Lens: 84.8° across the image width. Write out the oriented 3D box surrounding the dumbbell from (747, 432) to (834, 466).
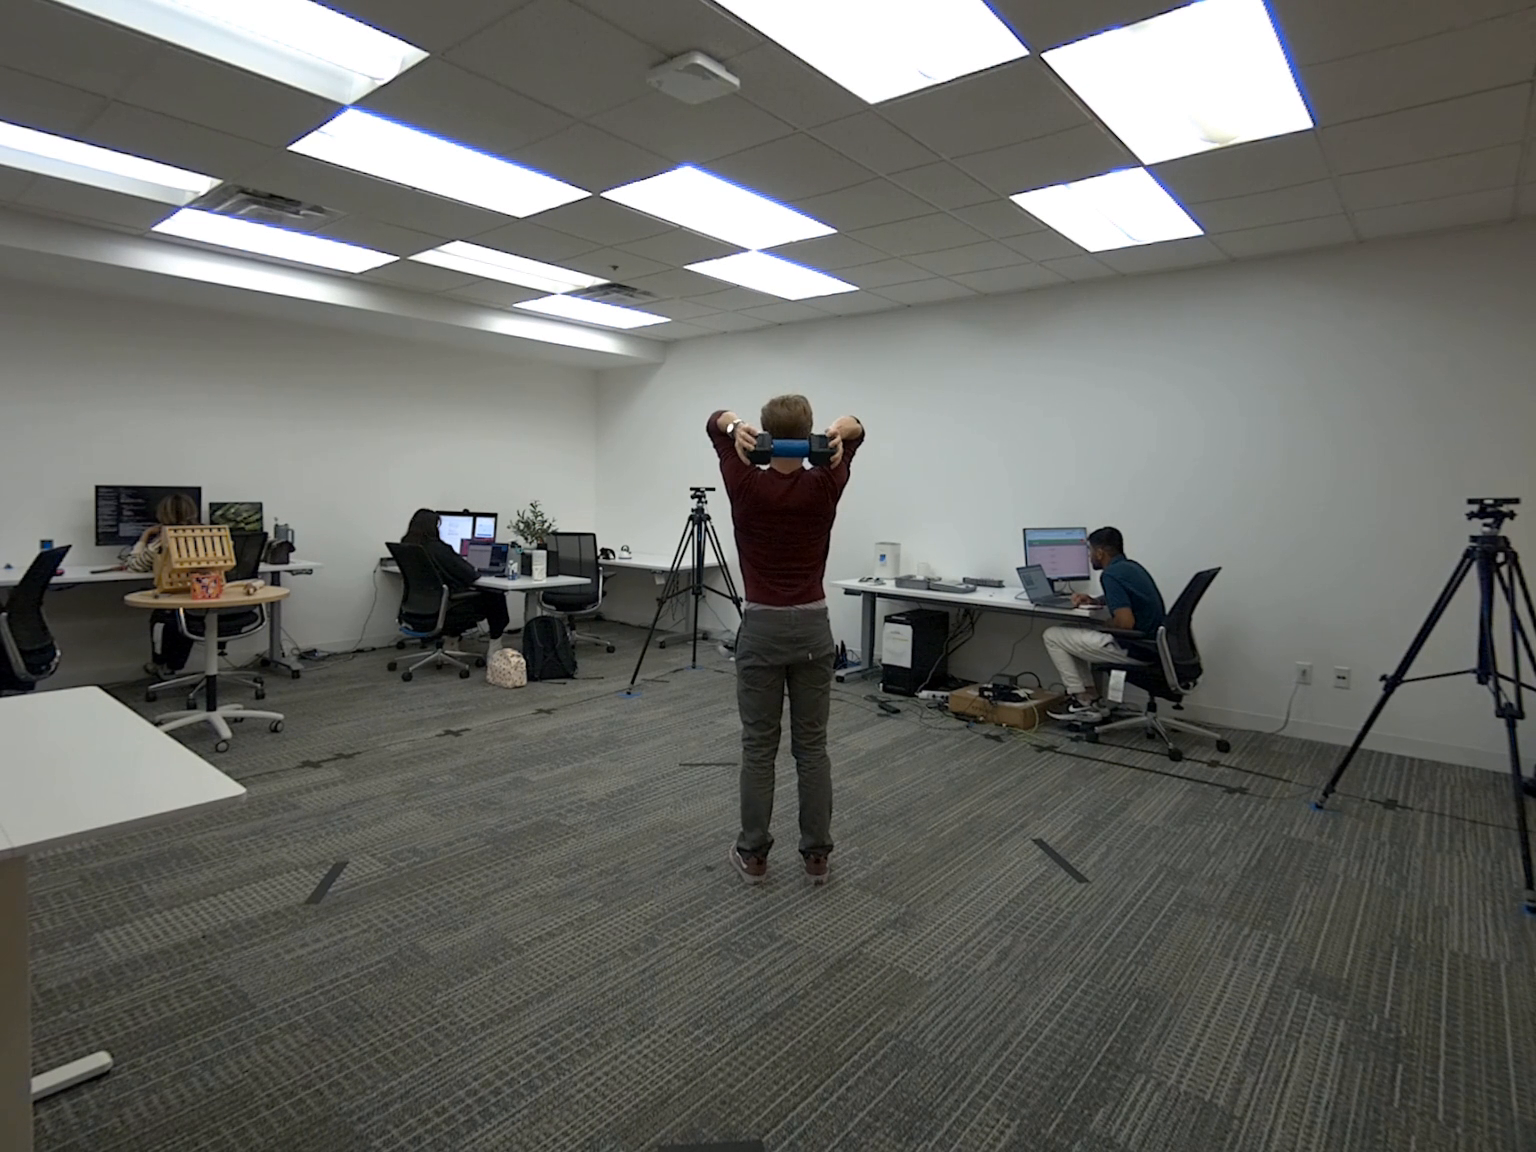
[{"bbox_3d":[0.074,-0.466,2.859,0.292,0.125,0.107,0,-18,-4],"label":"dumbbell"}]
